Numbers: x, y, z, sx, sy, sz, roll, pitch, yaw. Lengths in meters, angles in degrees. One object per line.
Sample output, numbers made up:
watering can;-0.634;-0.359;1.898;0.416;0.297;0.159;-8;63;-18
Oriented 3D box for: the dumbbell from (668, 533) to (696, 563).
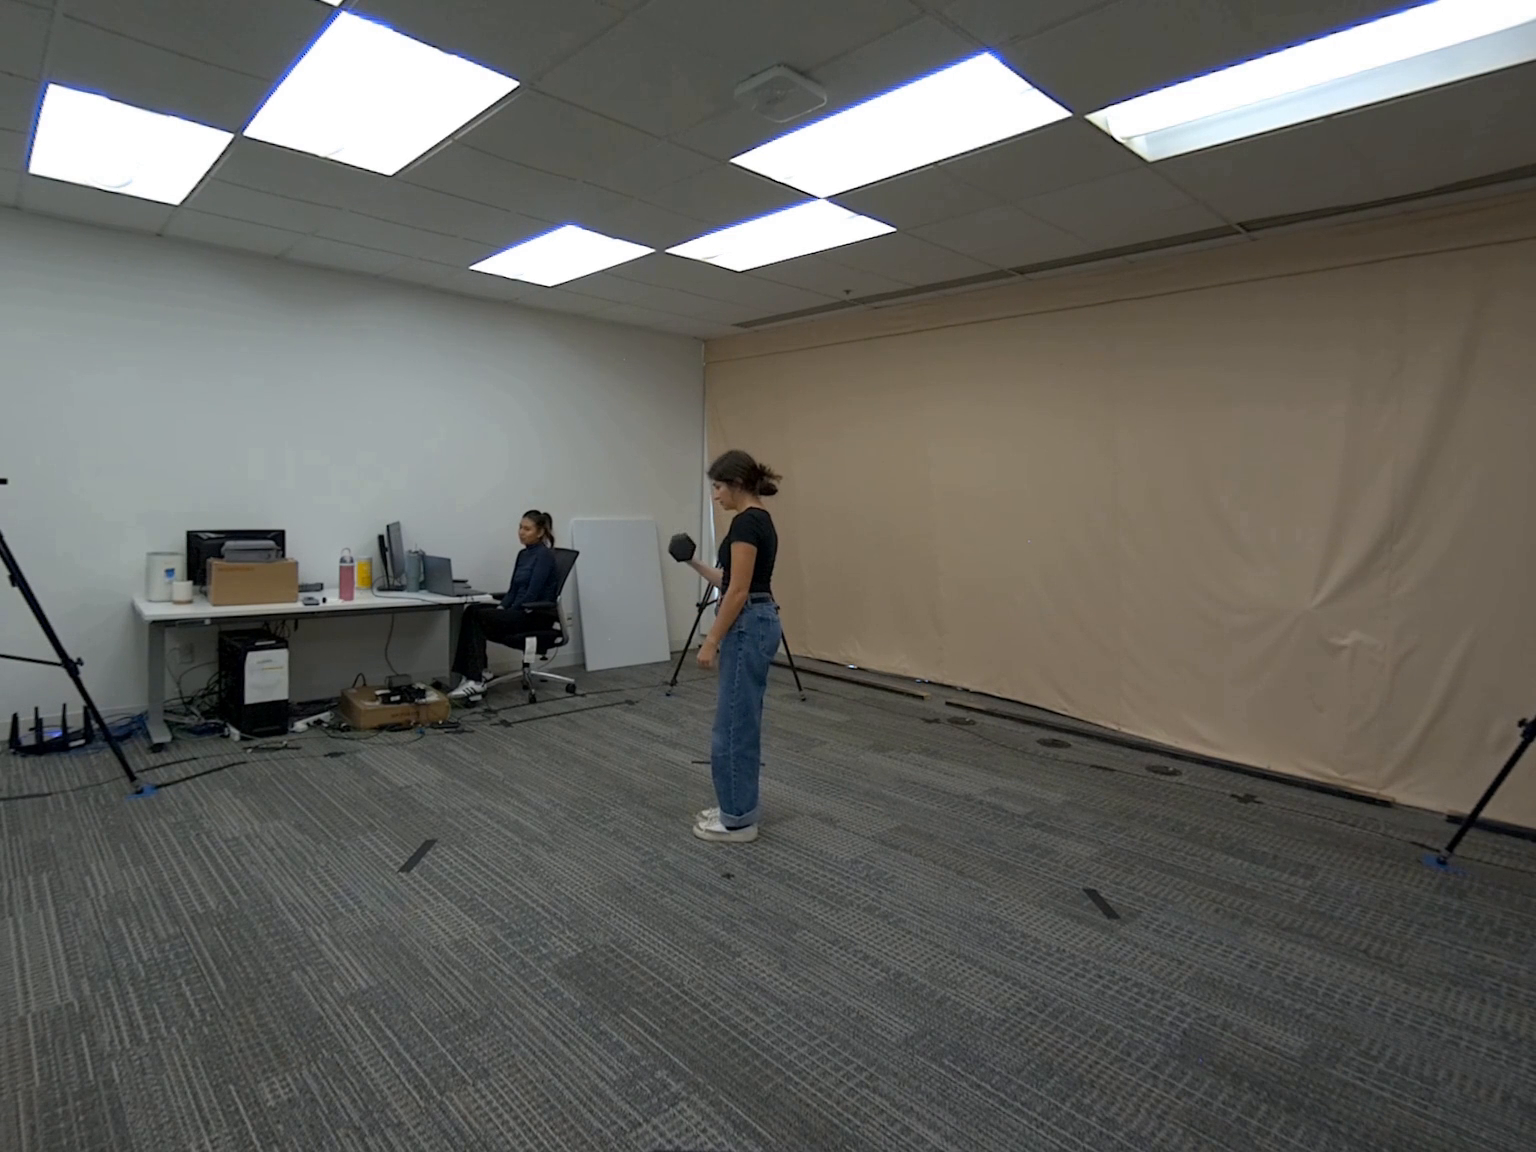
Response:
dumbbell;-0.378;-0.119;3.687;0.109;0.122;0.295;-44;7;-1
